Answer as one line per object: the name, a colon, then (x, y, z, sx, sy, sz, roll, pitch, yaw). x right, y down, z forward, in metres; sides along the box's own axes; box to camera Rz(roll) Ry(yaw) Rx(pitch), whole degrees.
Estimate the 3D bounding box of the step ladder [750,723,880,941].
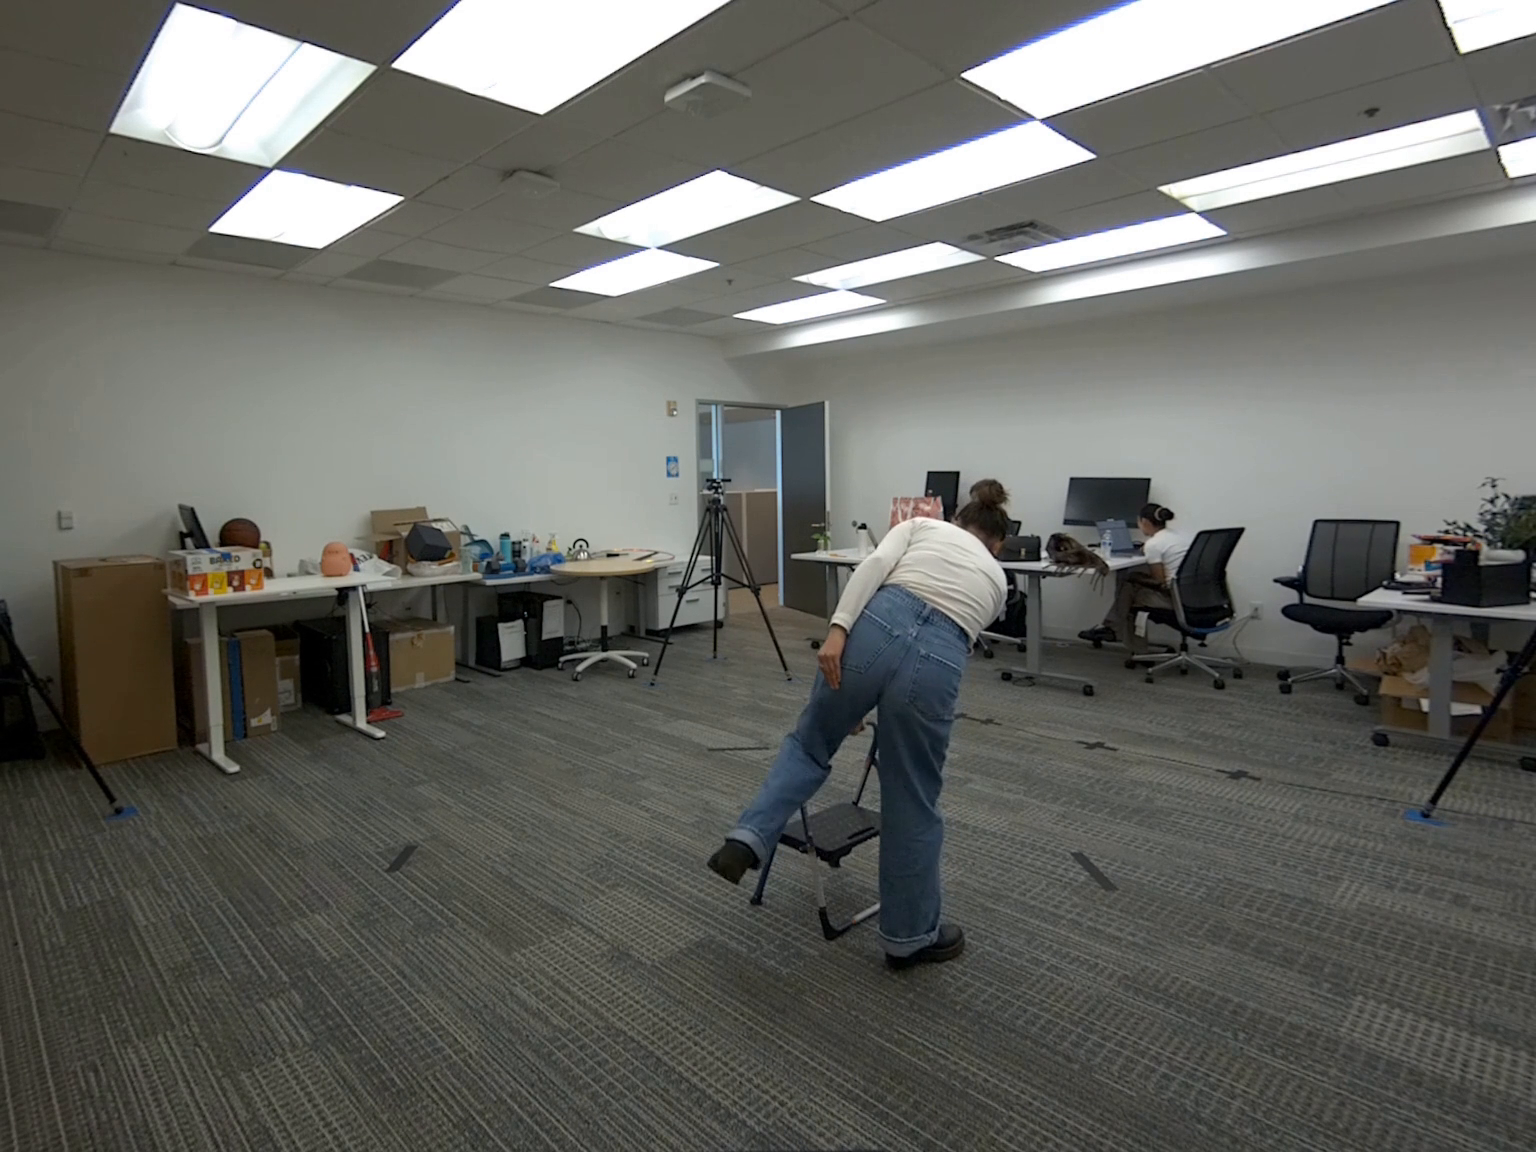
step ladder: (0.207, 0.773, 2.810, 0.419, 0.604, 0.360, -5, 6, -44)
